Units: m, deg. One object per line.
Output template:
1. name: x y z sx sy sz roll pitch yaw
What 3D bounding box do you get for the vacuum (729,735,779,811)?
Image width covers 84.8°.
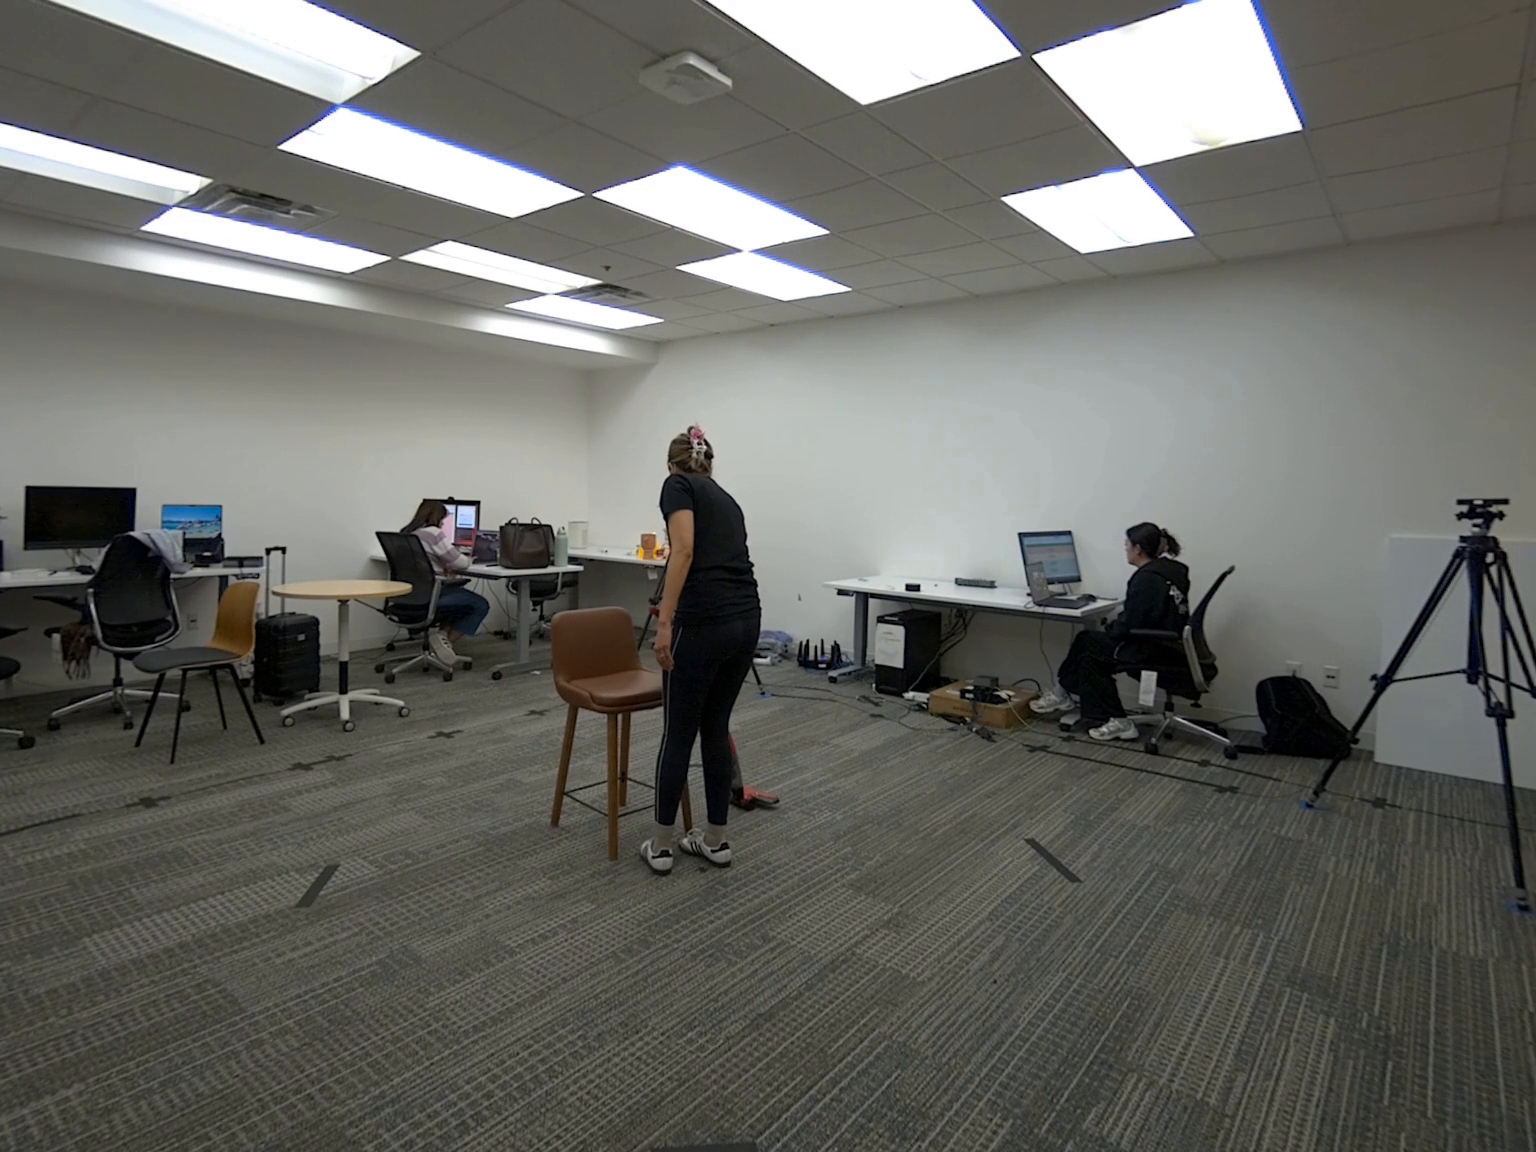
1. vacuum: -0.277 0.559 3.594 0.261 1.022 0.143 0 31 46
